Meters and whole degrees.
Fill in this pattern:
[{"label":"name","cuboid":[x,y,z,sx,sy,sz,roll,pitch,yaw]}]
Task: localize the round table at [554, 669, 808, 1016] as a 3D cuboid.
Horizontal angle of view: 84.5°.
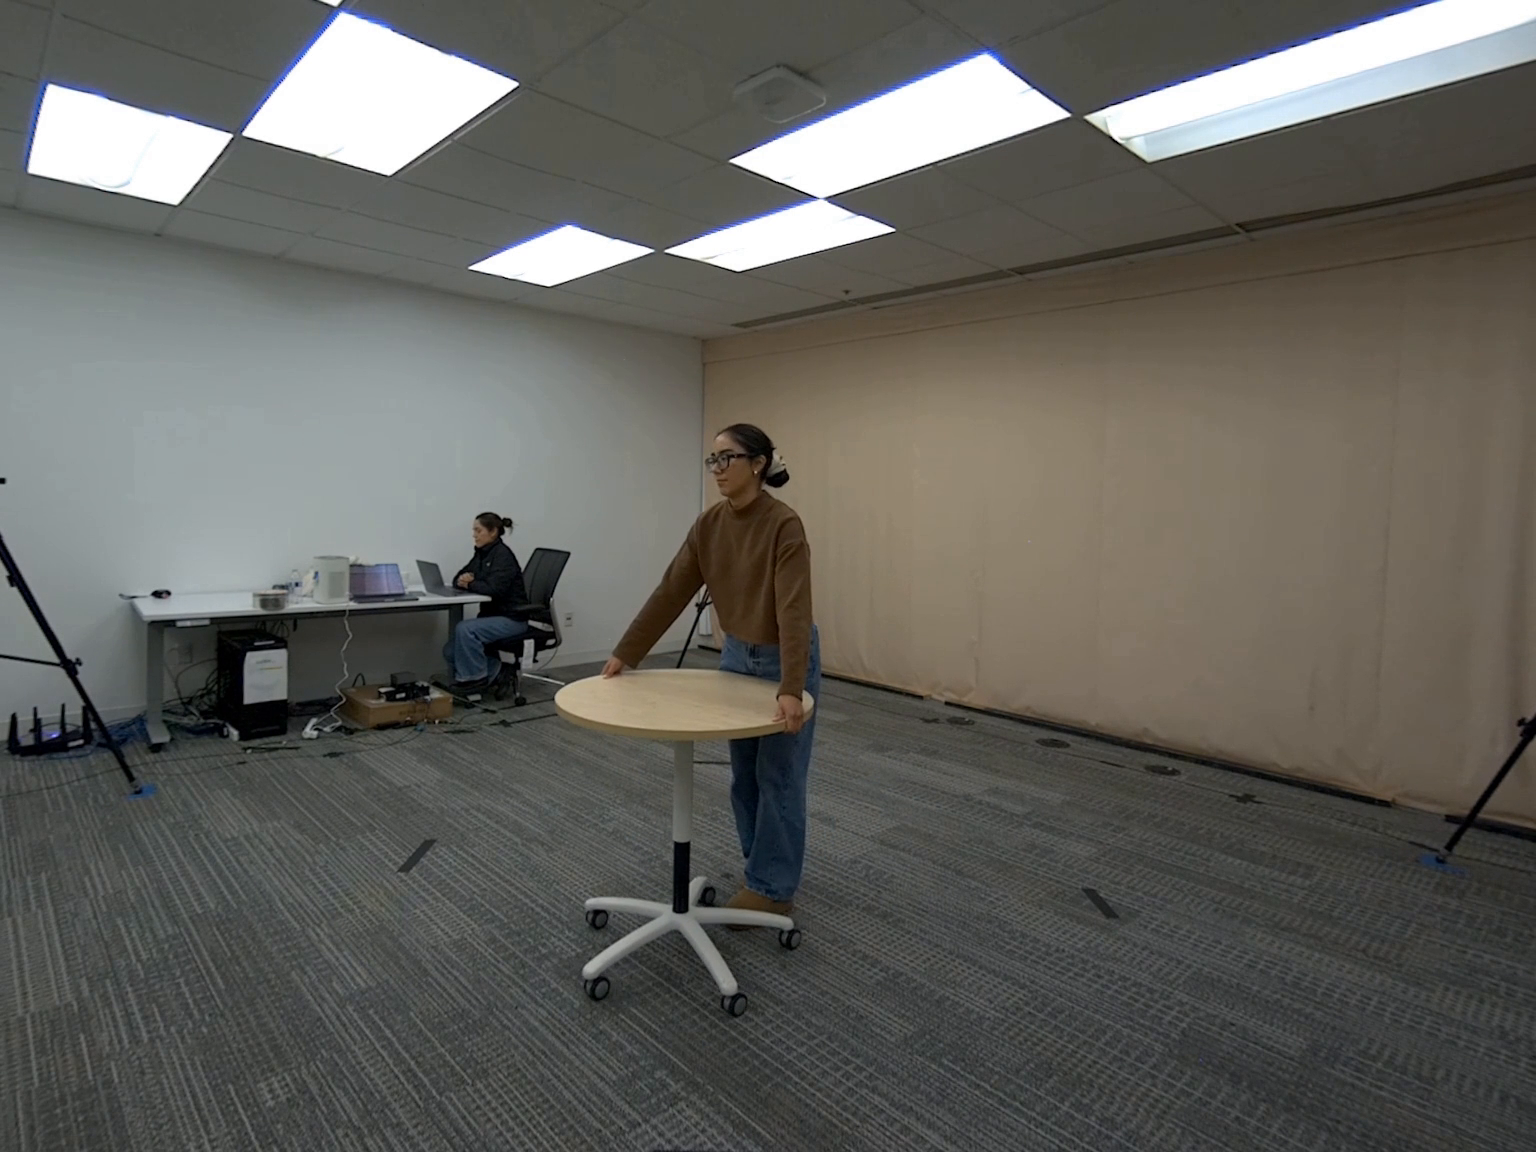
[{"label":"round table","cuboid":[-0.264,0.759,2.521,0.784,0.784,0.788,1,4,-1]}]
